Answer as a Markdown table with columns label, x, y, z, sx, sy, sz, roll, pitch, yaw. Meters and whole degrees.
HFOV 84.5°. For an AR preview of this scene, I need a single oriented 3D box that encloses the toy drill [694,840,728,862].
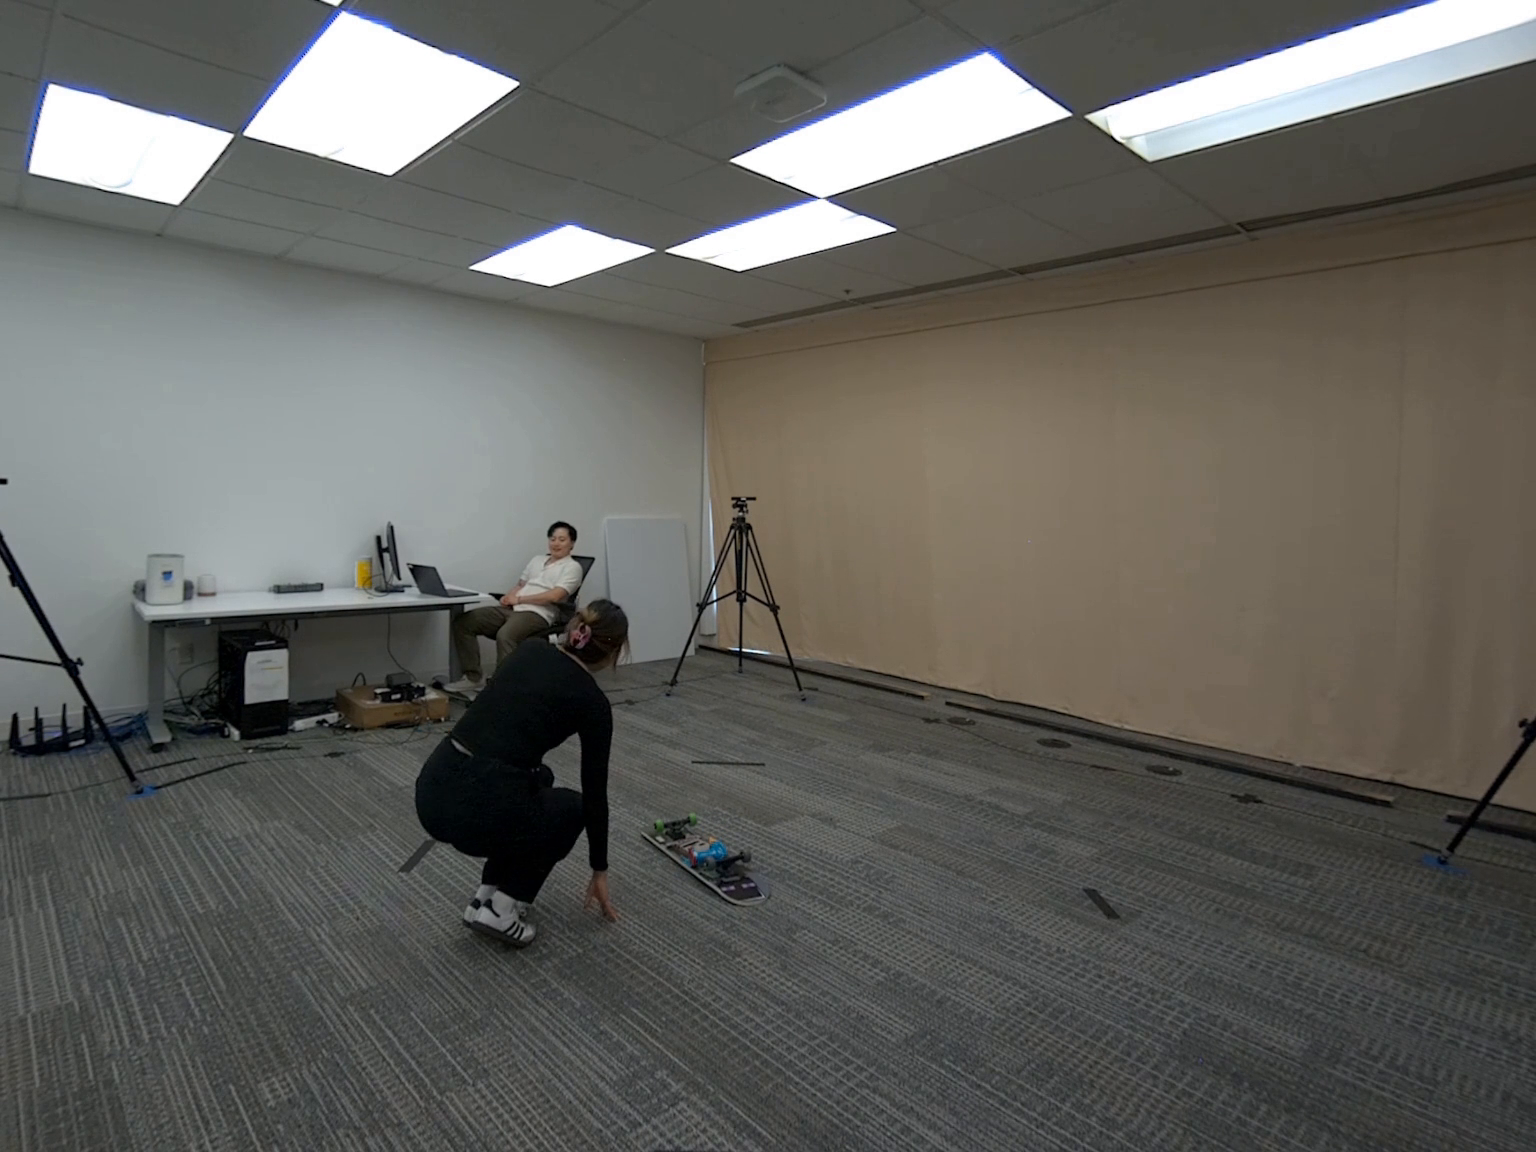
| label | x | y | z | sx | sy | sz | roll | pitch | yaw |
| --- | --- | --- | --- | --- | --- | --- | --- | --- | --- |
| toy drill | -0.234 | 1.036 | 3.180 | 0.144 | 0.061 | 0.174 | -2 | 13 | -21 |
